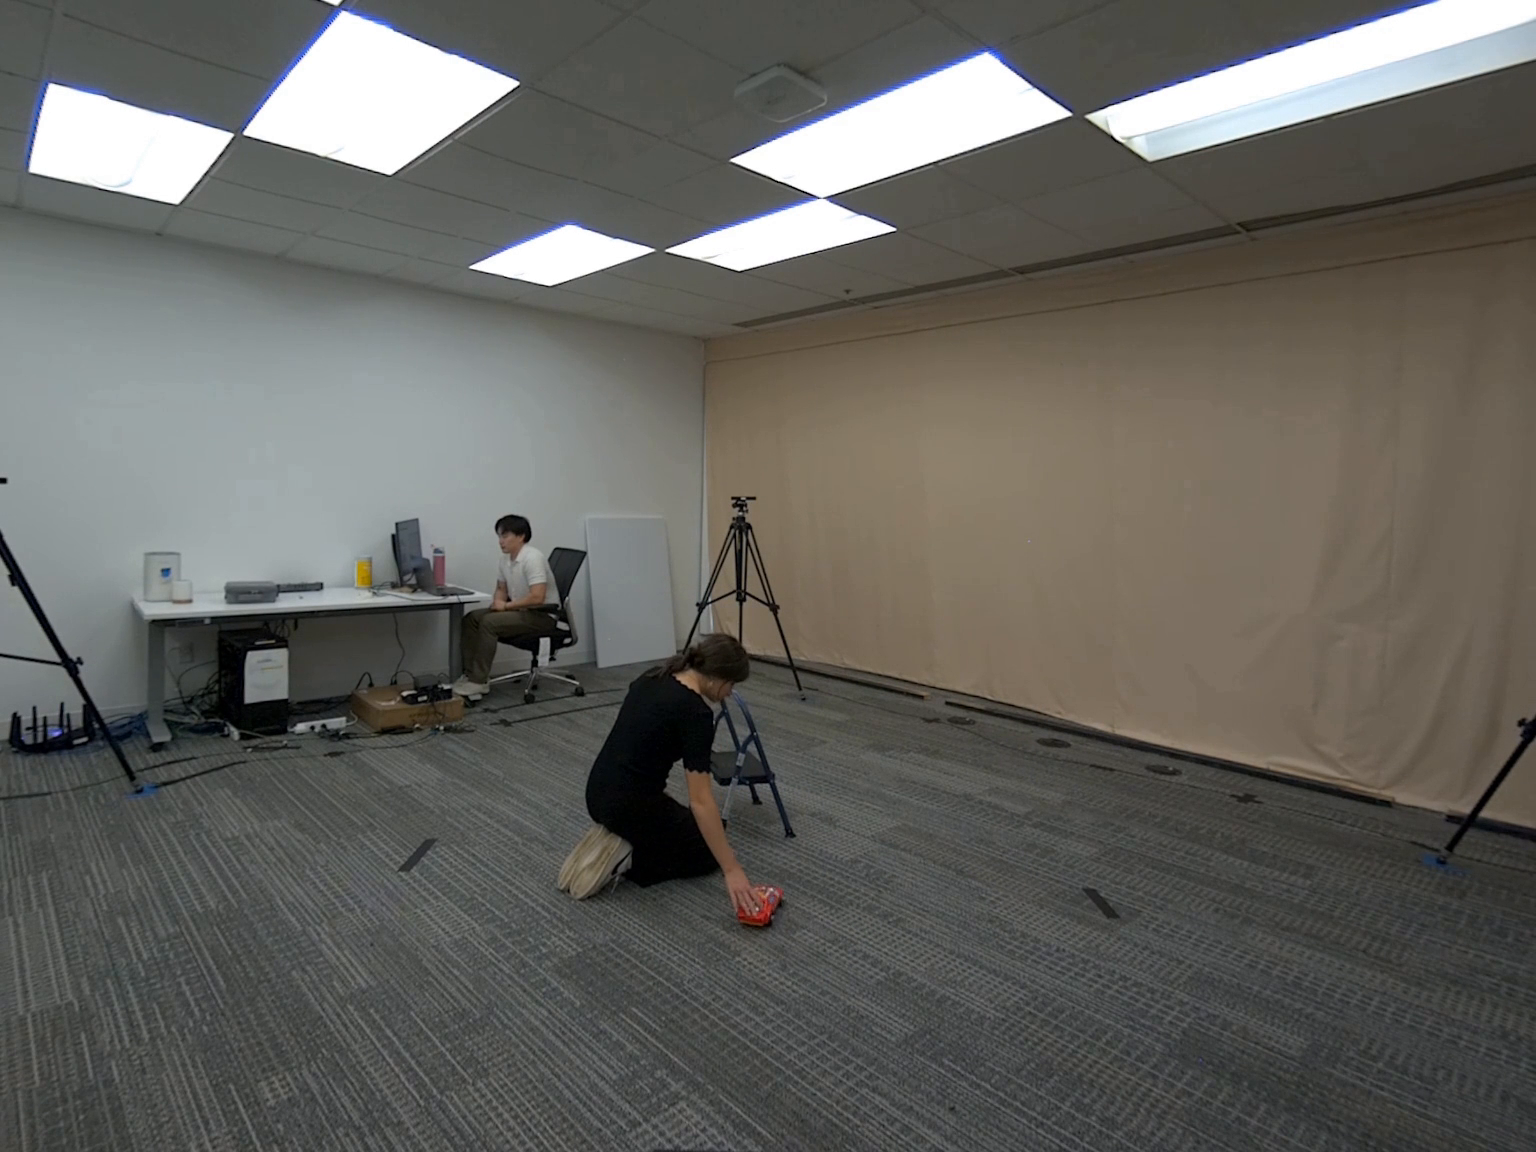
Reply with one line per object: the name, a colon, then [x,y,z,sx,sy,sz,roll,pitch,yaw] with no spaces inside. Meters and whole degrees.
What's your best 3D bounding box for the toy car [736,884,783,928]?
toy car: [-0.042,1.106,2.806,0.132,0.083,0.251,6,-3,13]
